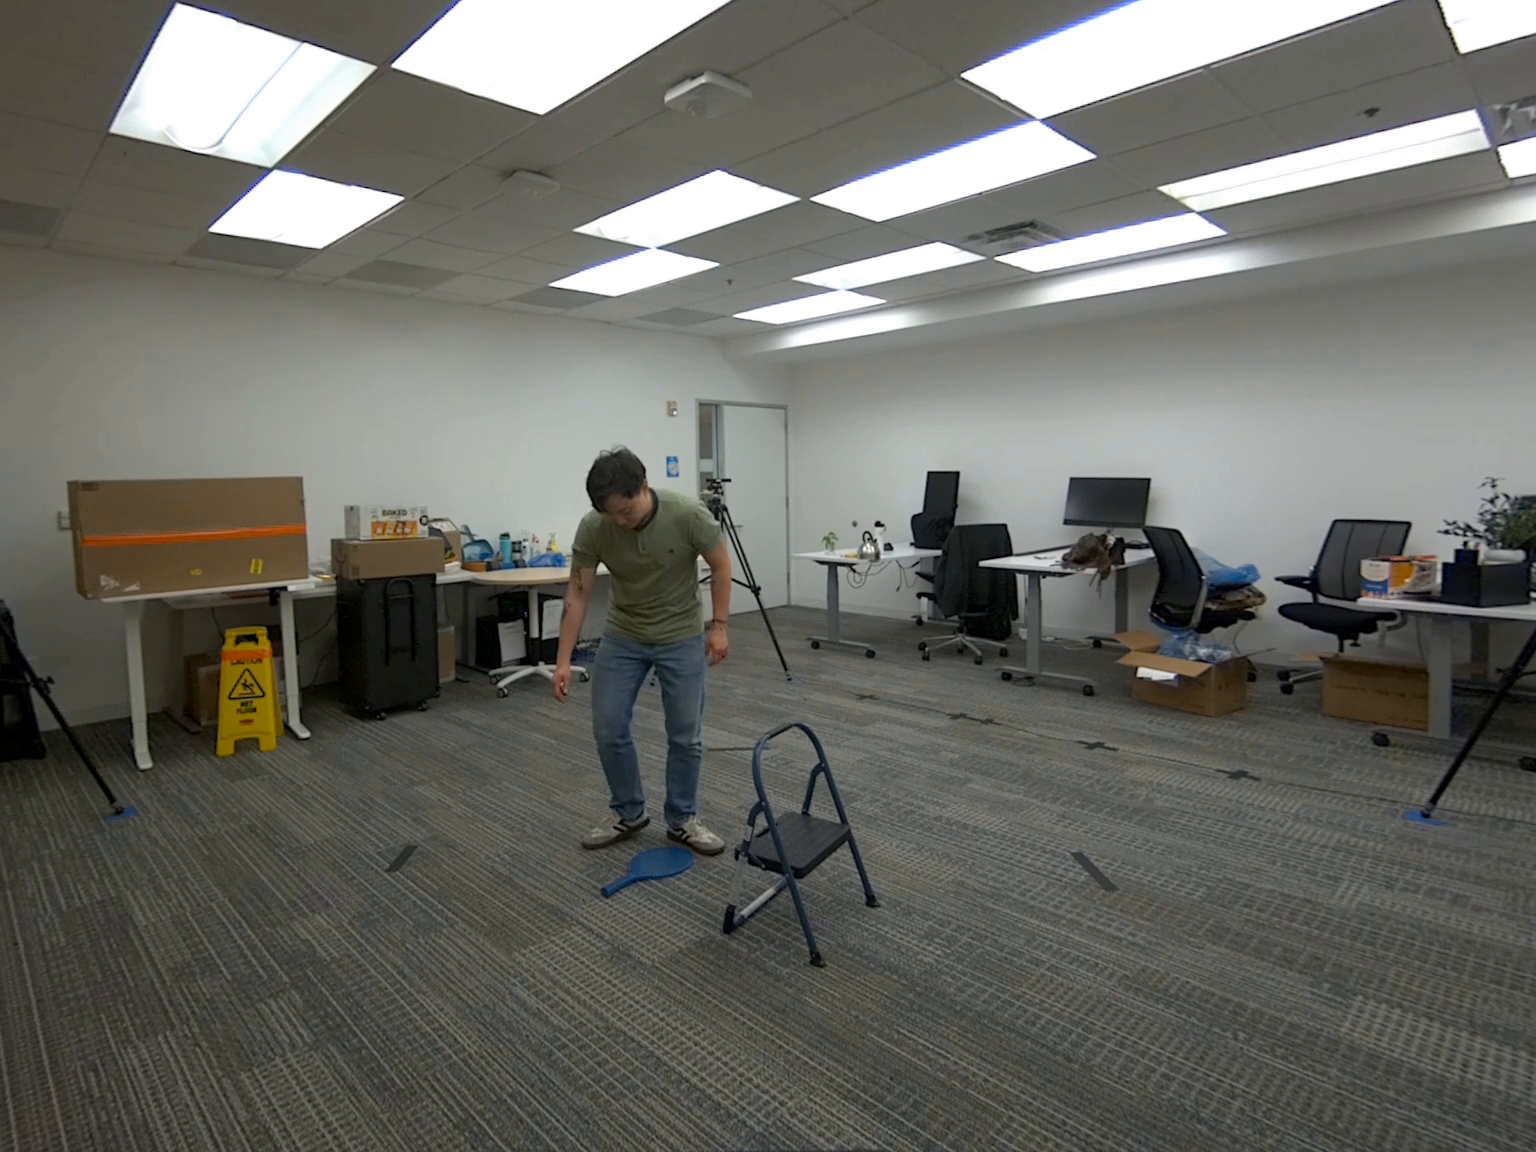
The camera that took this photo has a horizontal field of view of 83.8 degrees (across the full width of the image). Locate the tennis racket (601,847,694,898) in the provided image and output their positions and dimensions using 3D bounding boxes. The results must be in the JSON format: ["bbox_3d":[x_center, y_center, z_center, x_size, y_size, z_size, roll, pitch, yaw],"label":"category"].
[{"bbox_3d":[-0.431,1.044,3.048,0.220,0.031,0.422,4,7,35],"label":"tennis racket"}]
